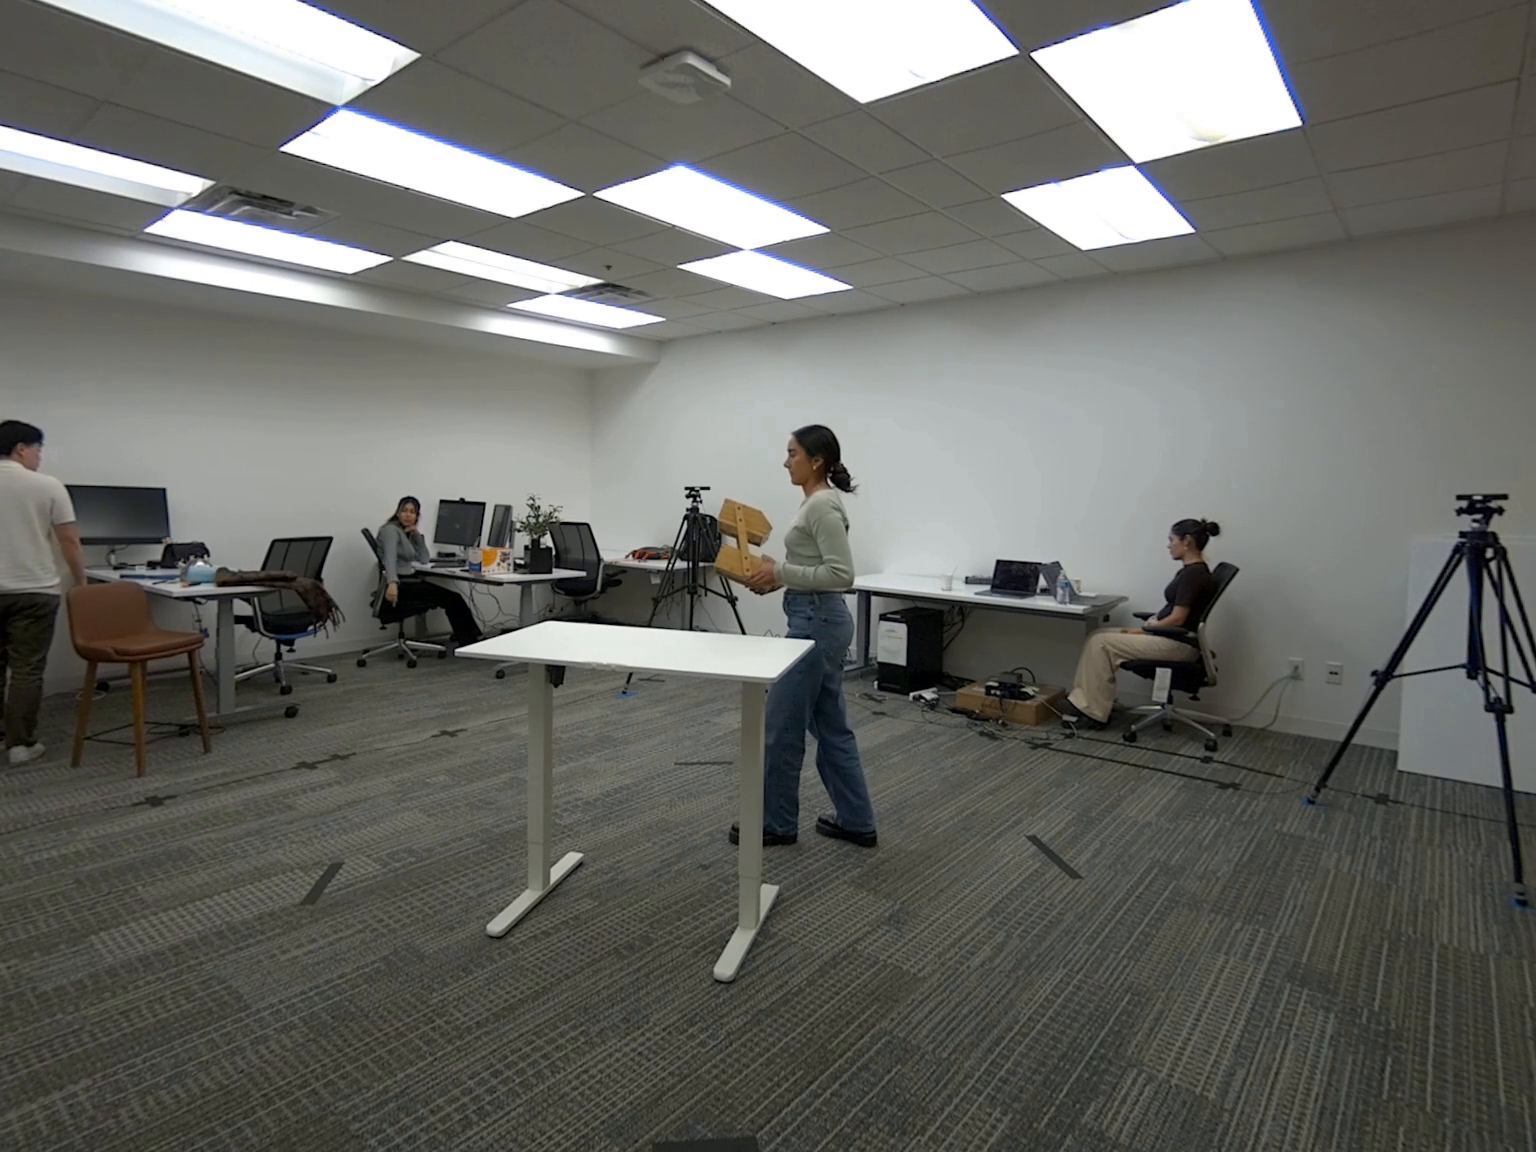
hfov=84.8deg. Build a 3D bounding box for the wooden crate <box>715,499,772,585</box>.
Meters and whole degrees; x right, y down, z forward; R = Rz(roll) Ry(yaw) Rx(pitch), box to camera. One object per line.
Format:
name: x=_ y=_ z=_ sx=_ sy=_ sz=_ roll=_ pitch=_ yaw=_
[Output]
wooden crate: x=-0.081 y=-0.120 z=3.367 sx=0.303 sy=0.274 sz=0.323 roll=21 pitch=-6 yaw=0
